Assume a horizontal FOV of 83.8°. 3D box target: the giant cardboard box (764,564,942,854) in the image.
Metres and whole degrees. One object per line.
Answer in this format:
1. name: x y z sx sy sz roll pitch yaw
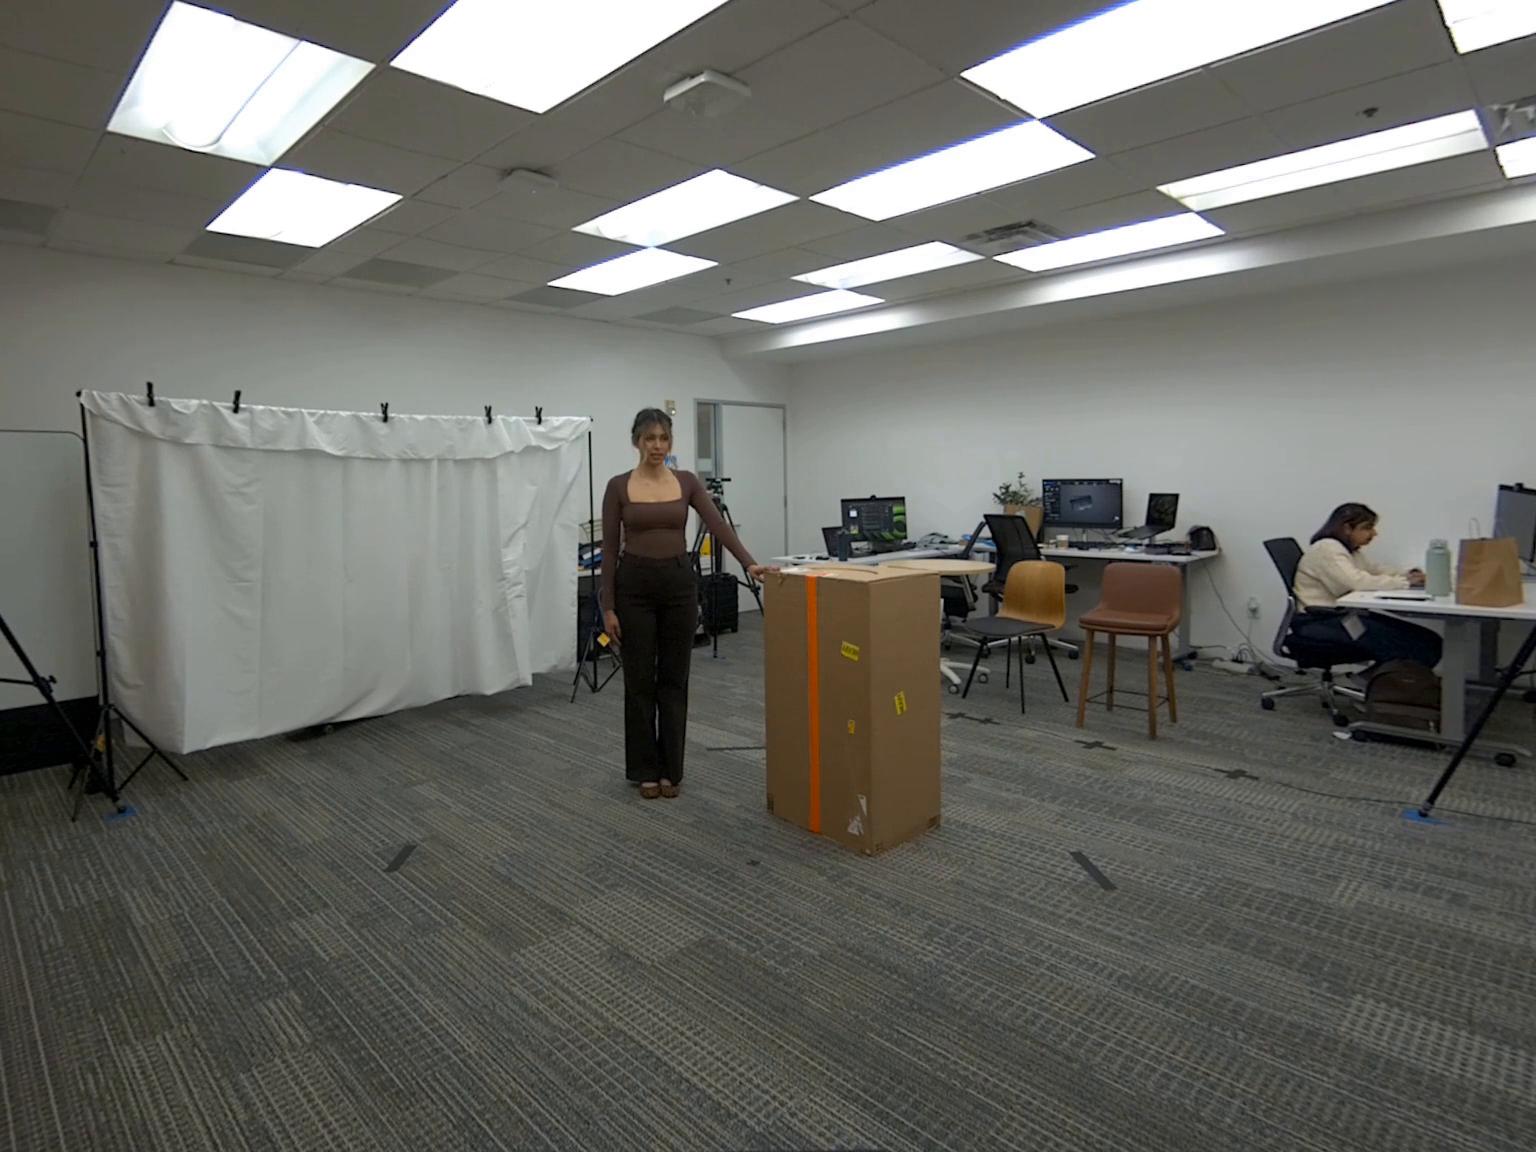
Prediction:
1. giant cardboard box: 0.335 0.486 3.456 0.435 1.023 0.602 -5 6 -39
